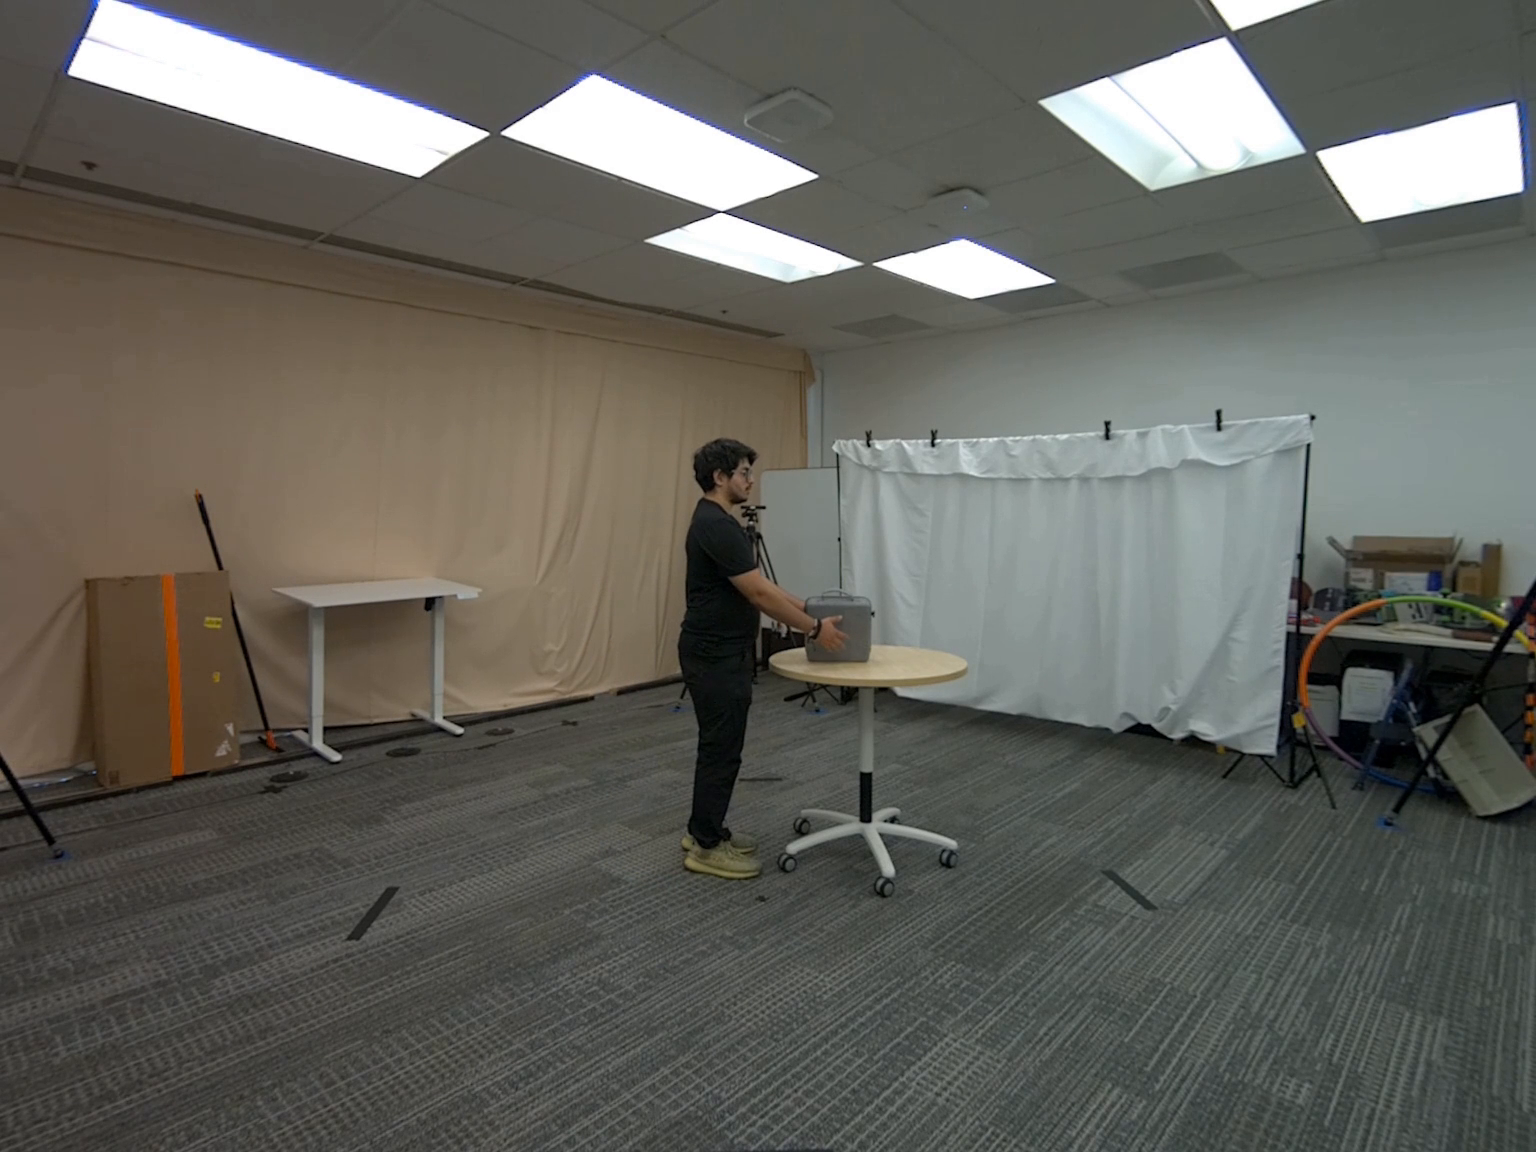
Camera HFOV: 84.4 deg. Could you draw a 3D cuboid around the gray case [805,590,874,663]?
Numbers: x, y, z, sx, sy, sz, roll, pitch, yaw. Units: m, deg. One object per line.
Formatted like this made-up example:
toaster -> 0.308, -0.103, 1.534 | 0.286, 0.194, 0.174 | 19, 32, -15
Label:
gray case -> 0.280, 0.205, 3.285 | 0.259, 0.258, 0.104 | -1, 14, 6
